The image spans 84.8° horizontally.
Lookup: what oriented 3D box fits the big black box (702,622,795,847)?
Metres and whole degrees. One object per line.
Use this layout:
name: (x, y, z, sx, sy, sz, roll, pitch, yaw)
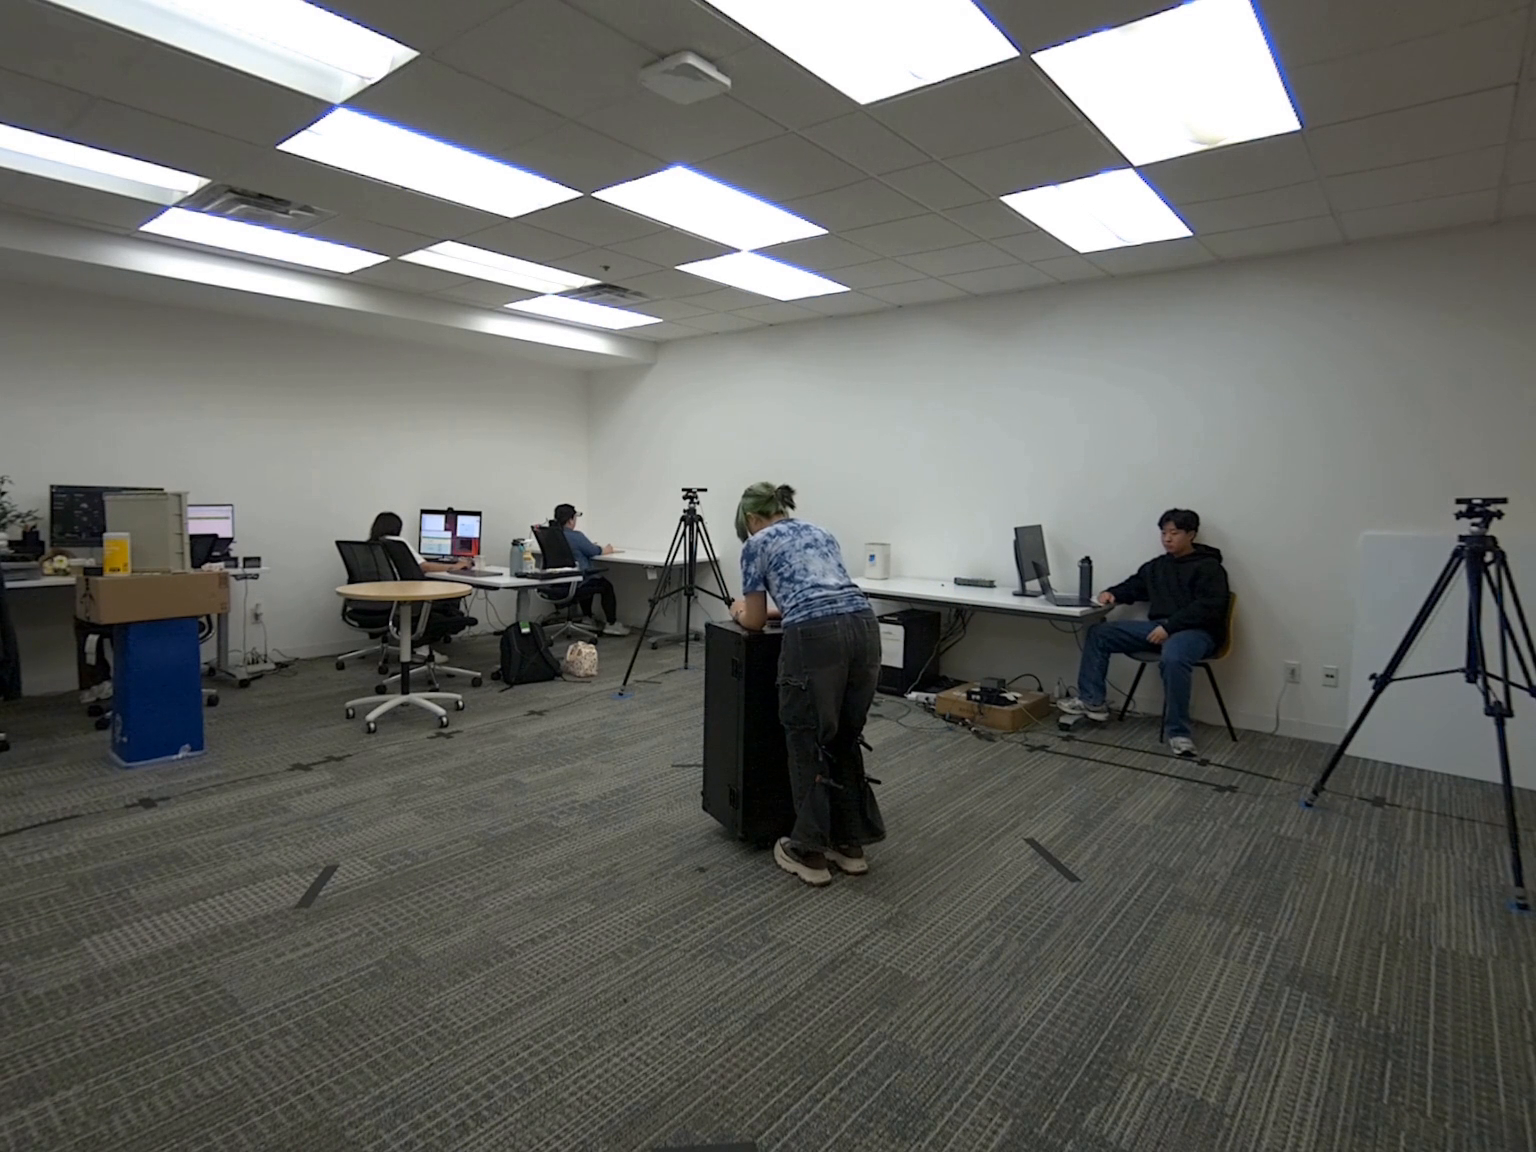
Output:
big black box: (0.015, 0.548, 3.454, 0.509, 0.859, 0.407, -1, 4, -26)
